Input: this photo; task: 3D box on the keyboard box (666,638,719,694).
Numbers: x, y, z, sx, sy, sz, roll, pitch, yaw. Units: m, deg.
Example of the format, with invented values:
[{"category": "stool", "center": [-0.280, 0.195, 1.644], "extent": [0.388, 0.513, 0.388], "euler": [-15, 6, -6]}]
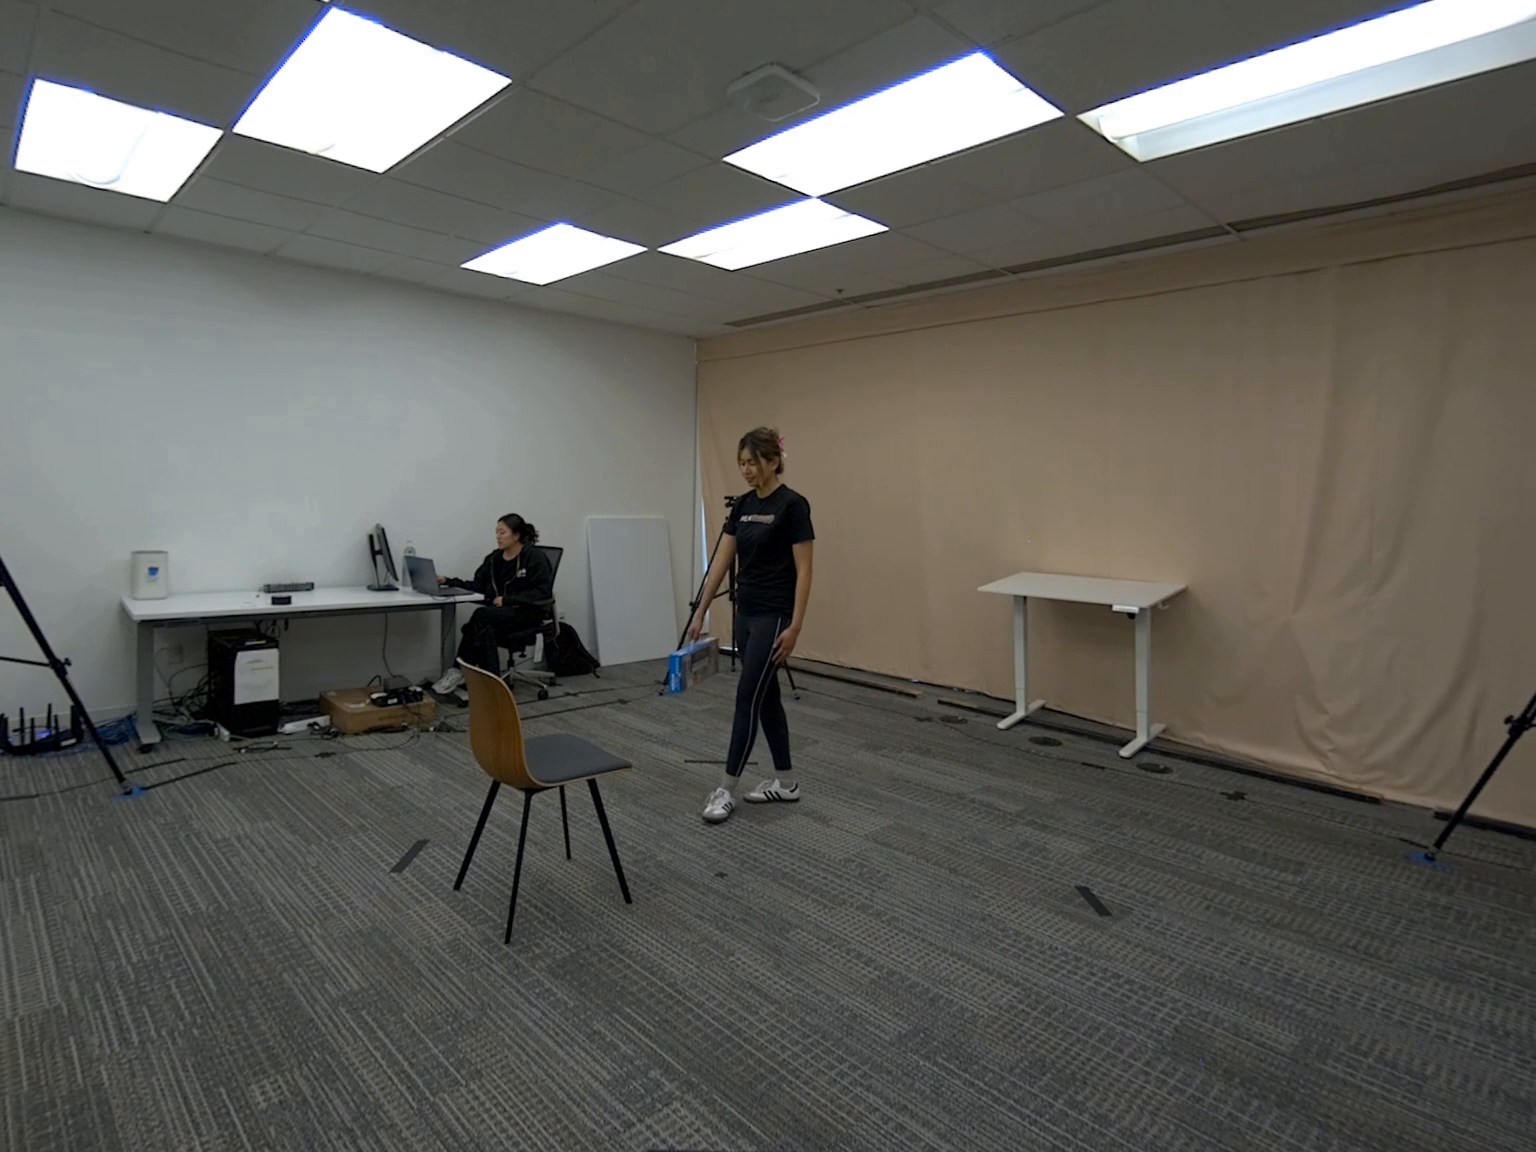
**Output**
[{"category": "keyboard box", "center": [-0.347, 0.408, 3.941], "extent": [0.060, 0.175, 0.431], "euler": [3, 7, 20]}]
